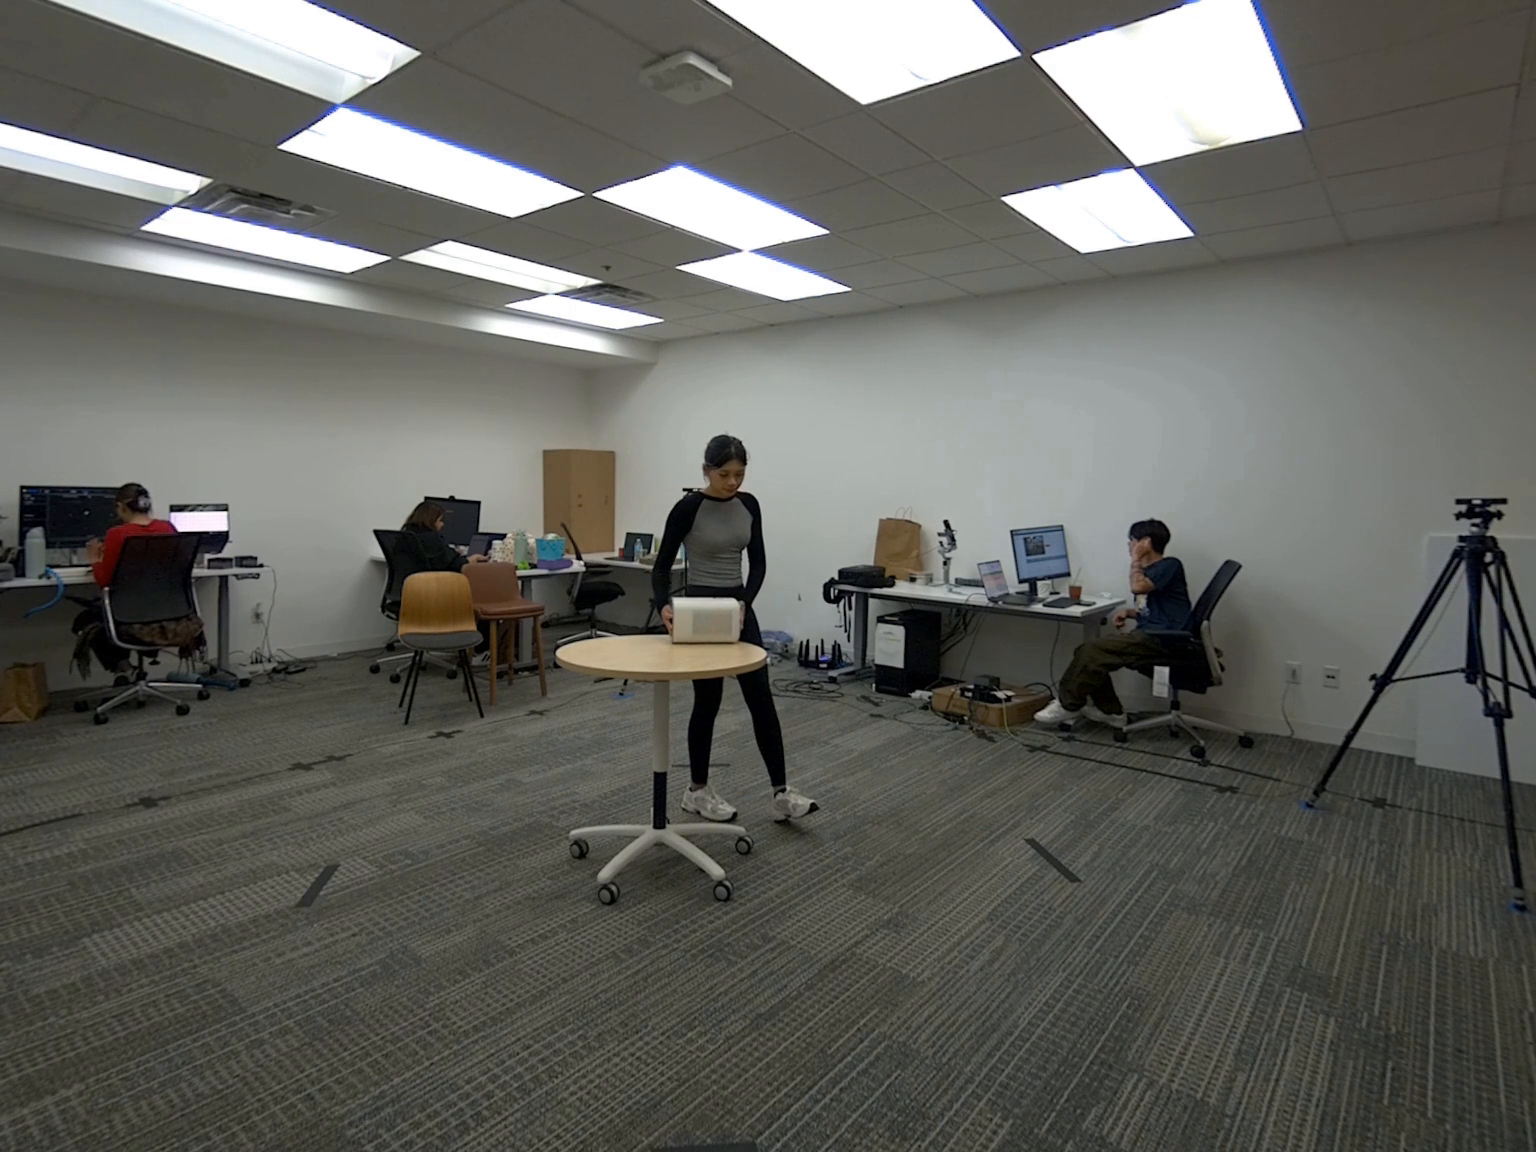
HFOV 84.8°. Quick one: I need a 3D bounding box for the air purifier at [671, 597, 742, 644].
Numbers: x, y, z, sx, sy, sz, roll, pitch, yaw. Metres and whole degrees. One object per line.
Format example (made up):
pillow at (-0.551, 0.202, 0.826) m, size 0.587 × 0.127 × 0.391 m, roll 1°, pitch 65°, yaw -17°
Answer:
air purifier at (-0.250, 0.170, 3.338) m, size 0.263 × 0.171 × 0.173 m, roll 1°, pitch 3°, yaw -7°
